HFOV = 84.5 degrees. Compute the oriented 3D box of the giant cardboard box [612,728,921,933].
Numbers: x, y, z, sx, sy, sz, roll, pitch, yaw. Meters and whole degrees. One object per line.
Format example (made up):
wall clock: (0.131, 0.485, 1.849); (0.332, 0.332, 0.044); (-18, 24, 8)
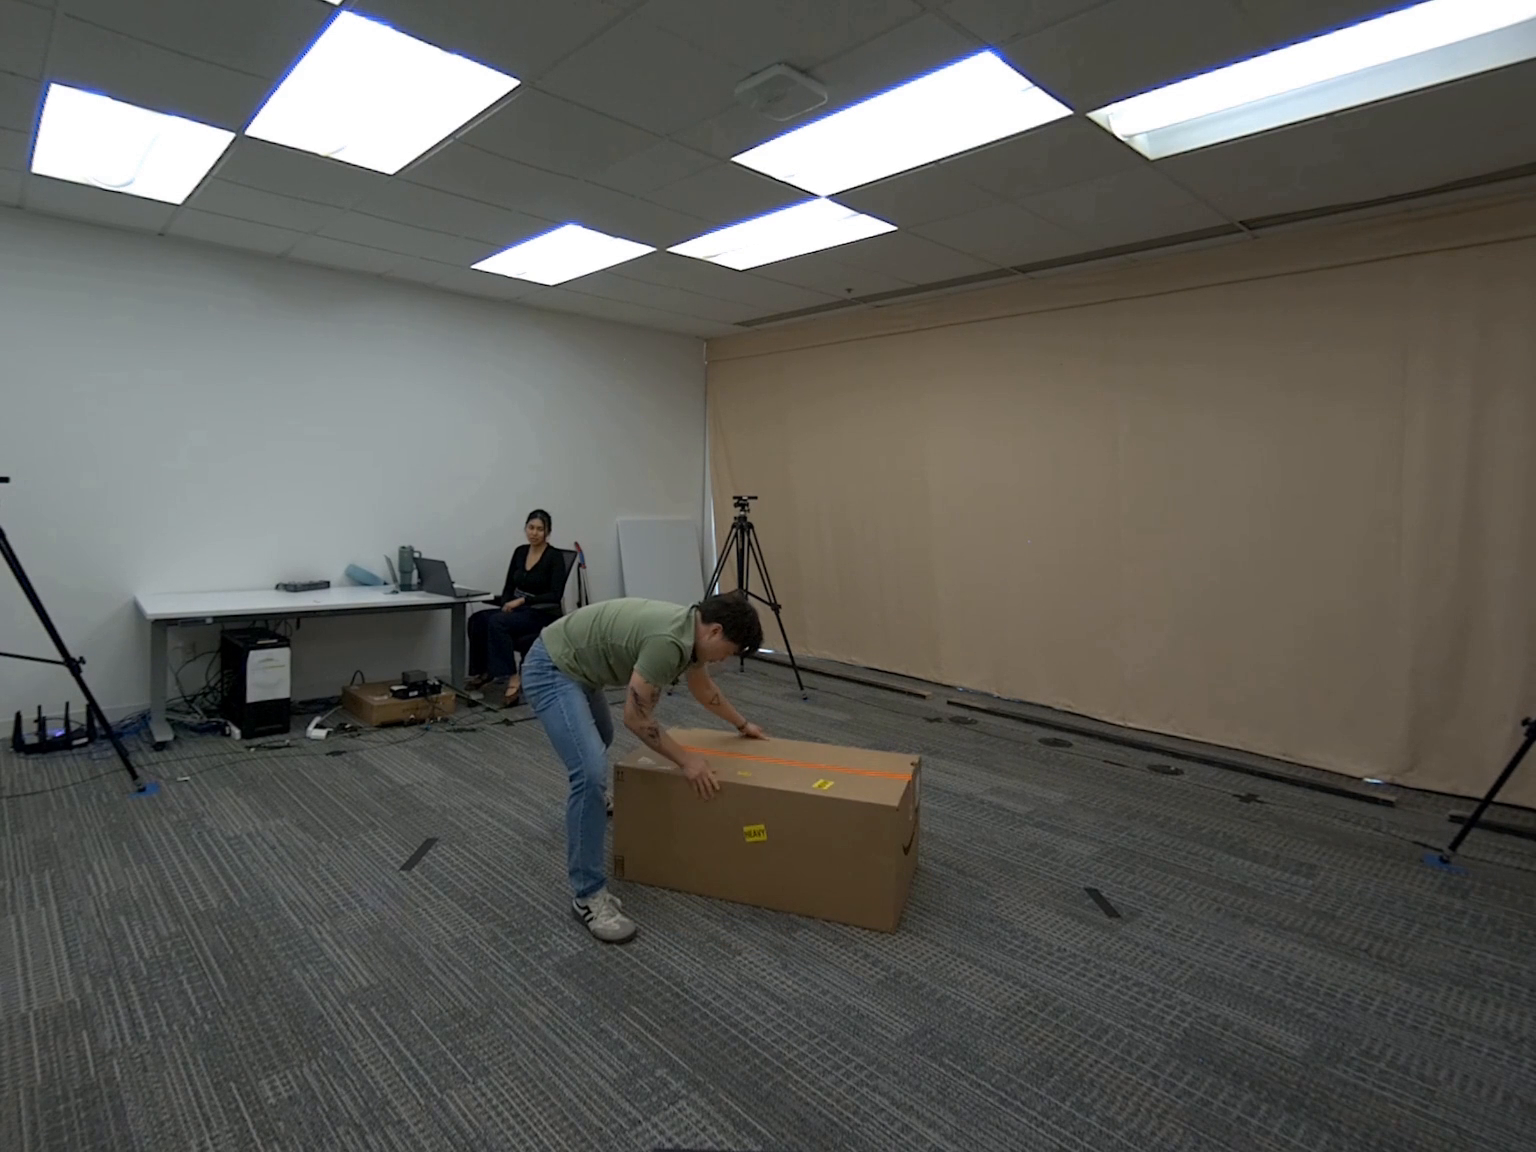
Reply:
giant cardboard box: (0.005, 0.885, 3.137); (1.042, 0.425, 0.571); (3, 6, 19)
